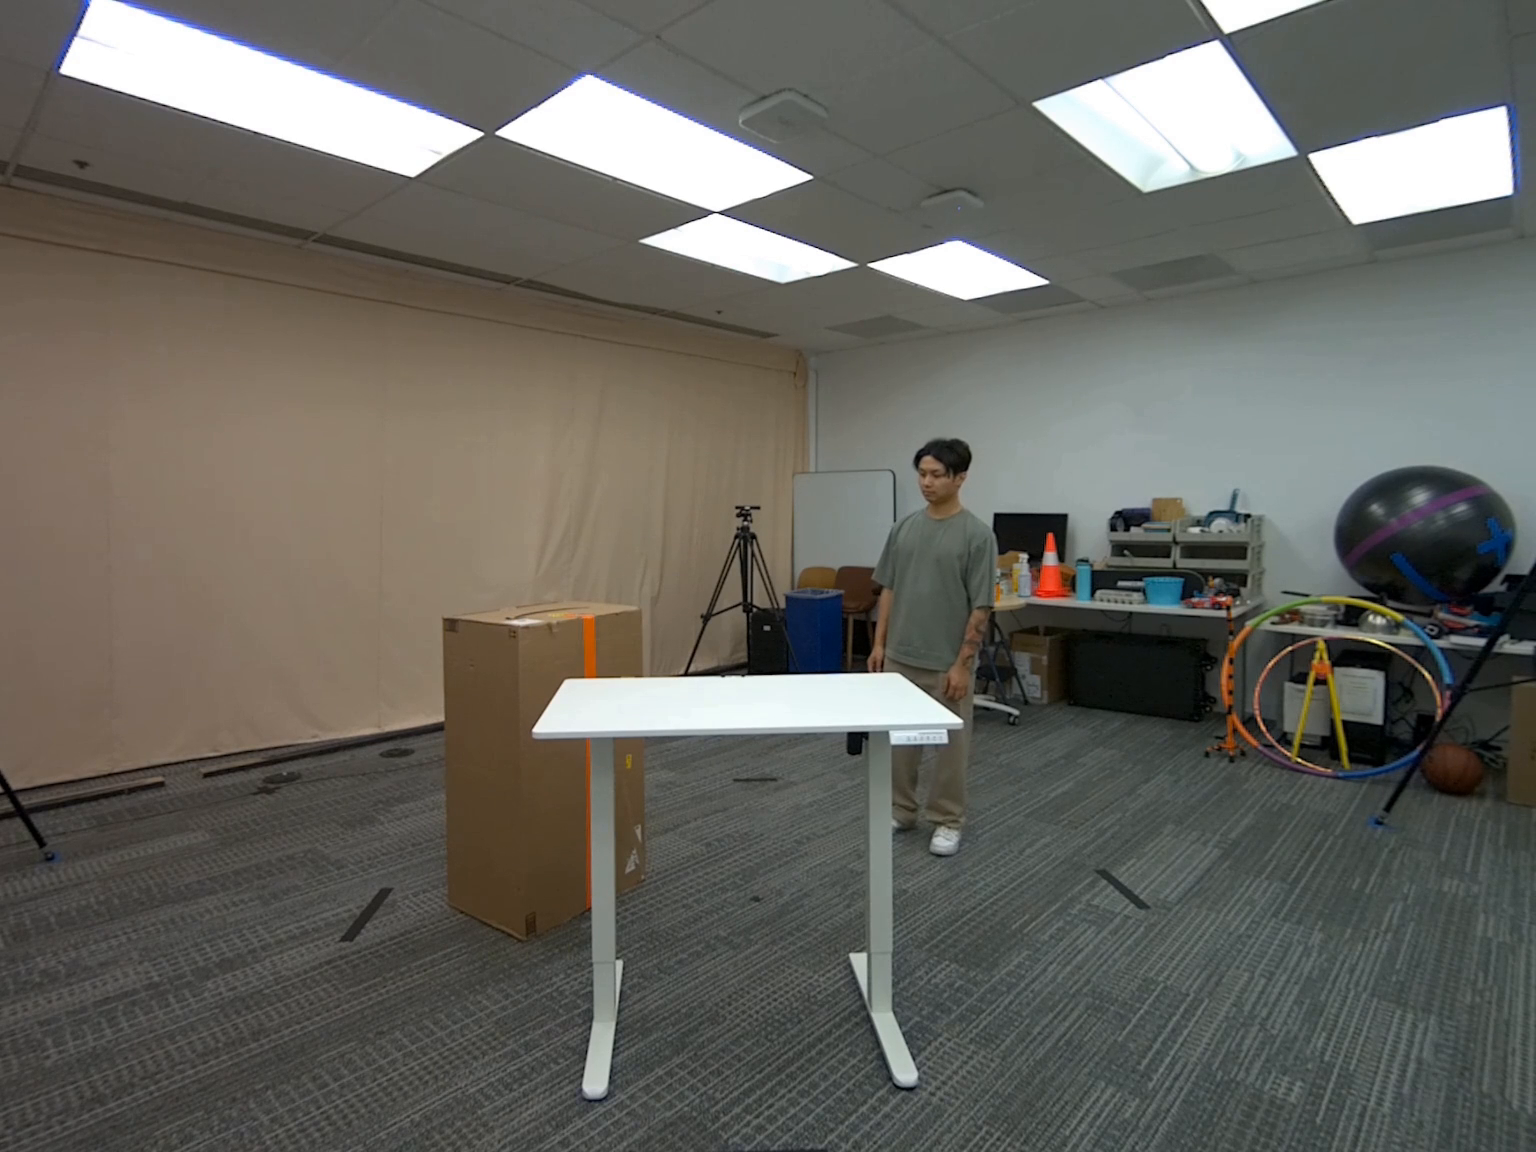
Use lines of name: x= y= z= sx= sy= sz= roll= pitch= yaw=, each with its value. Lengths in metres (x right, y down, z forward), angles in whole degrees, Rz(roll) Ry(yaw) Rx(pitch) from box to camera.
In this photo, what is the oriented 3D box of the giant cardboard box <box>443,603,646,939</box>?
giant cardboard box: x=-0.793 y=0.639 z=3.024 sx=0.440 sy=1.024 sz=0.560 roll=2 pitch=3 yaw=36
